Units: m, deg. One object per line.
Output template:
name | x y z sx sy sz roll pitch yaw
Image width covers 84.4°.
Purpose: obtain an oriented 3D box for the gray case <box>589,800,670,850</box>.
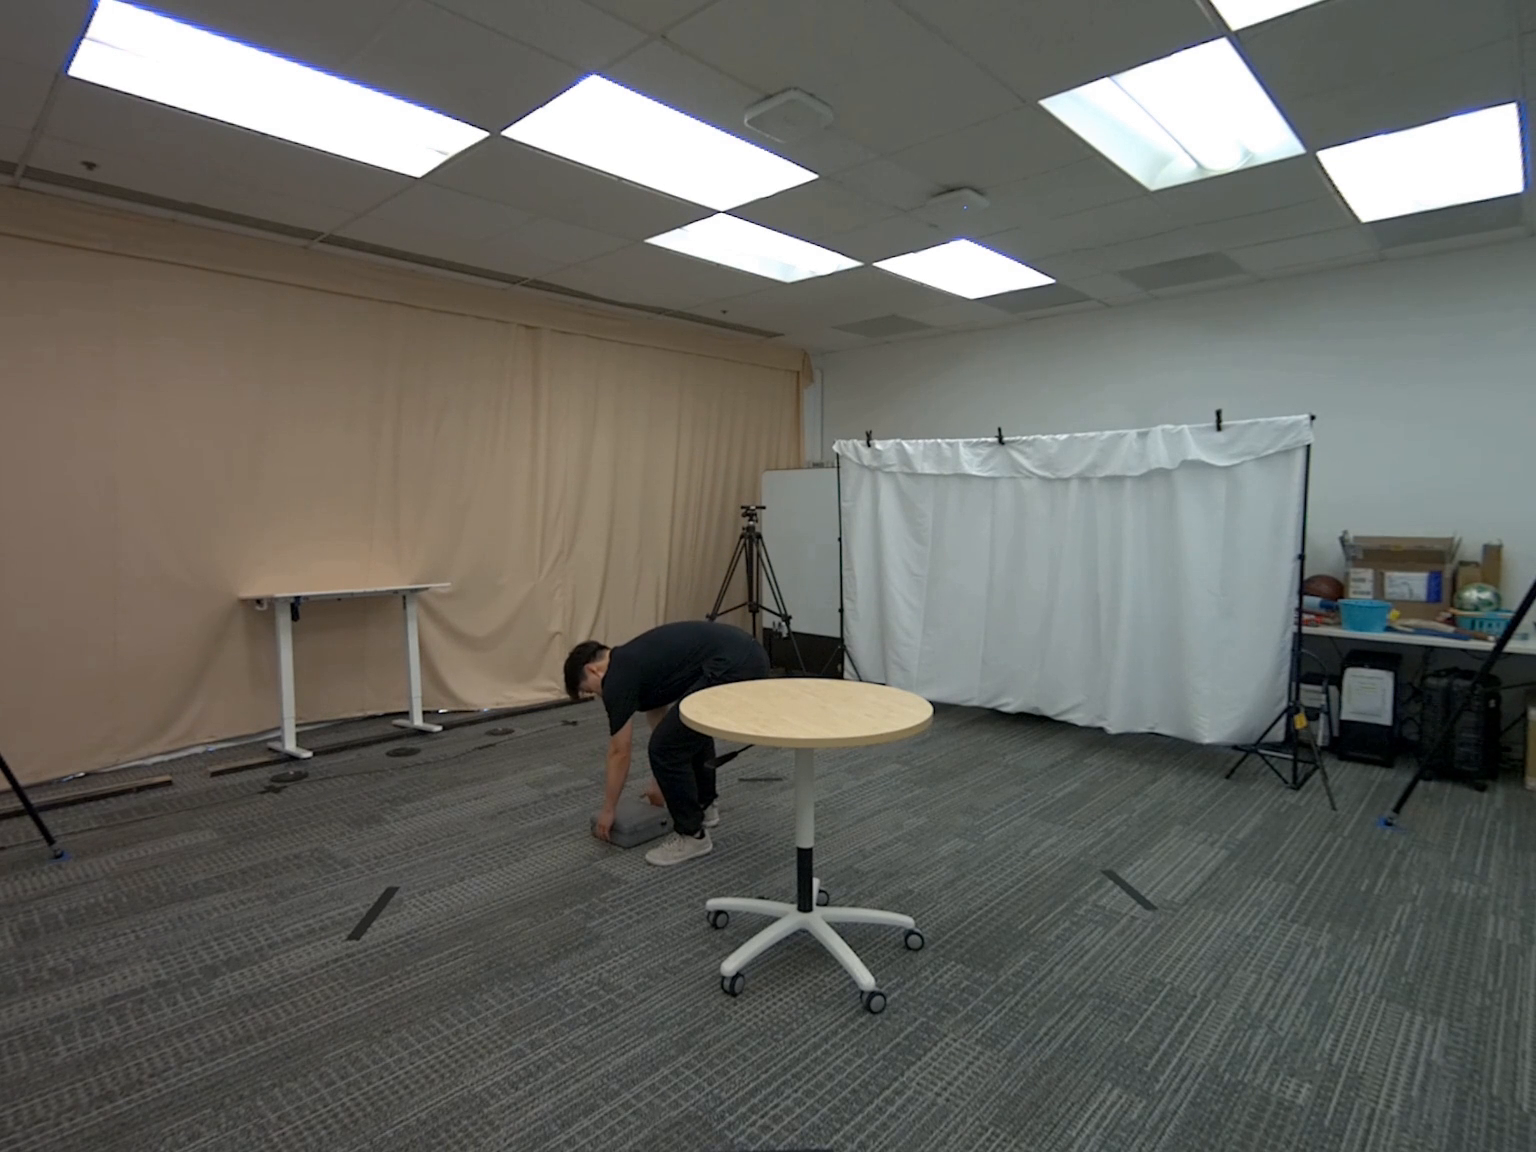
gray case | -0.590 1.043 3.580 0.269 0.104 0.249 1 6 41
